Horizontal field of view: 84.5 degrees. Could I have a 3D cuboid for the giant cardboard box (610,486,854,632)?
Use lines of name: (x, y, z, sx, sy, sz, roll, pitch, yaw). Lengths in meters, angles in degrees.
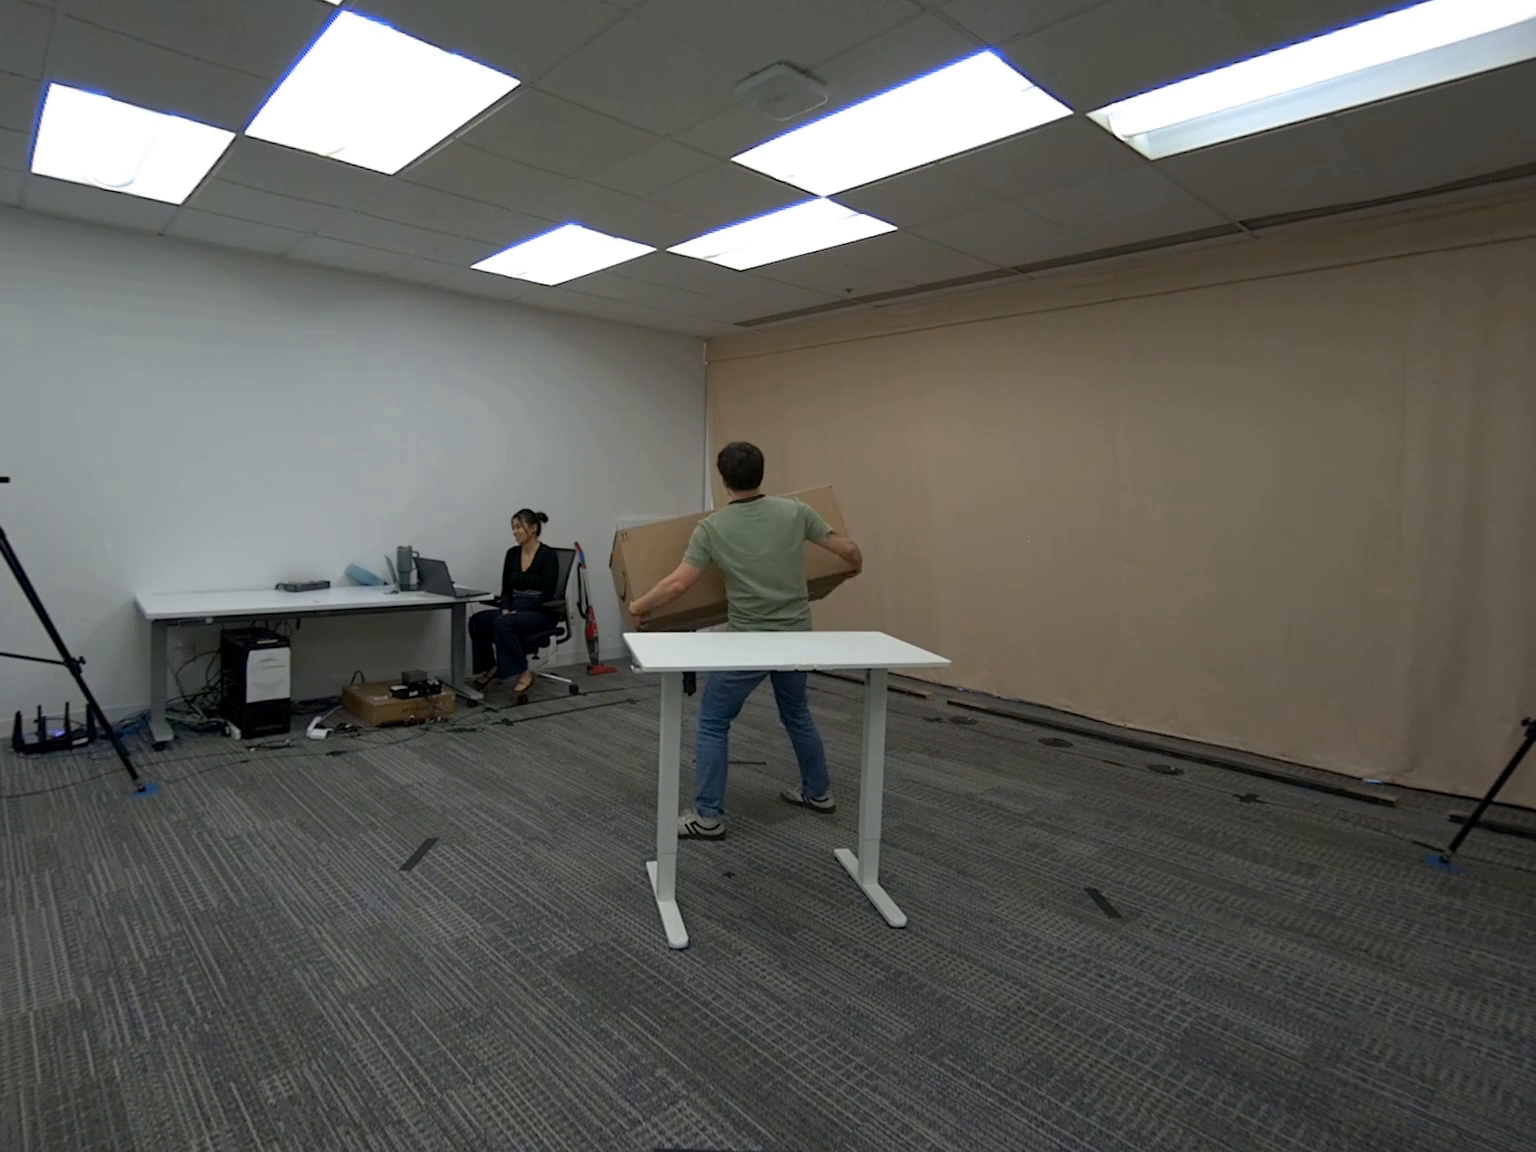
giant cardboard box: (-0.205, -0.040, 3.996, 1.016, 0.431, 0.576, -13, -12, -15)
